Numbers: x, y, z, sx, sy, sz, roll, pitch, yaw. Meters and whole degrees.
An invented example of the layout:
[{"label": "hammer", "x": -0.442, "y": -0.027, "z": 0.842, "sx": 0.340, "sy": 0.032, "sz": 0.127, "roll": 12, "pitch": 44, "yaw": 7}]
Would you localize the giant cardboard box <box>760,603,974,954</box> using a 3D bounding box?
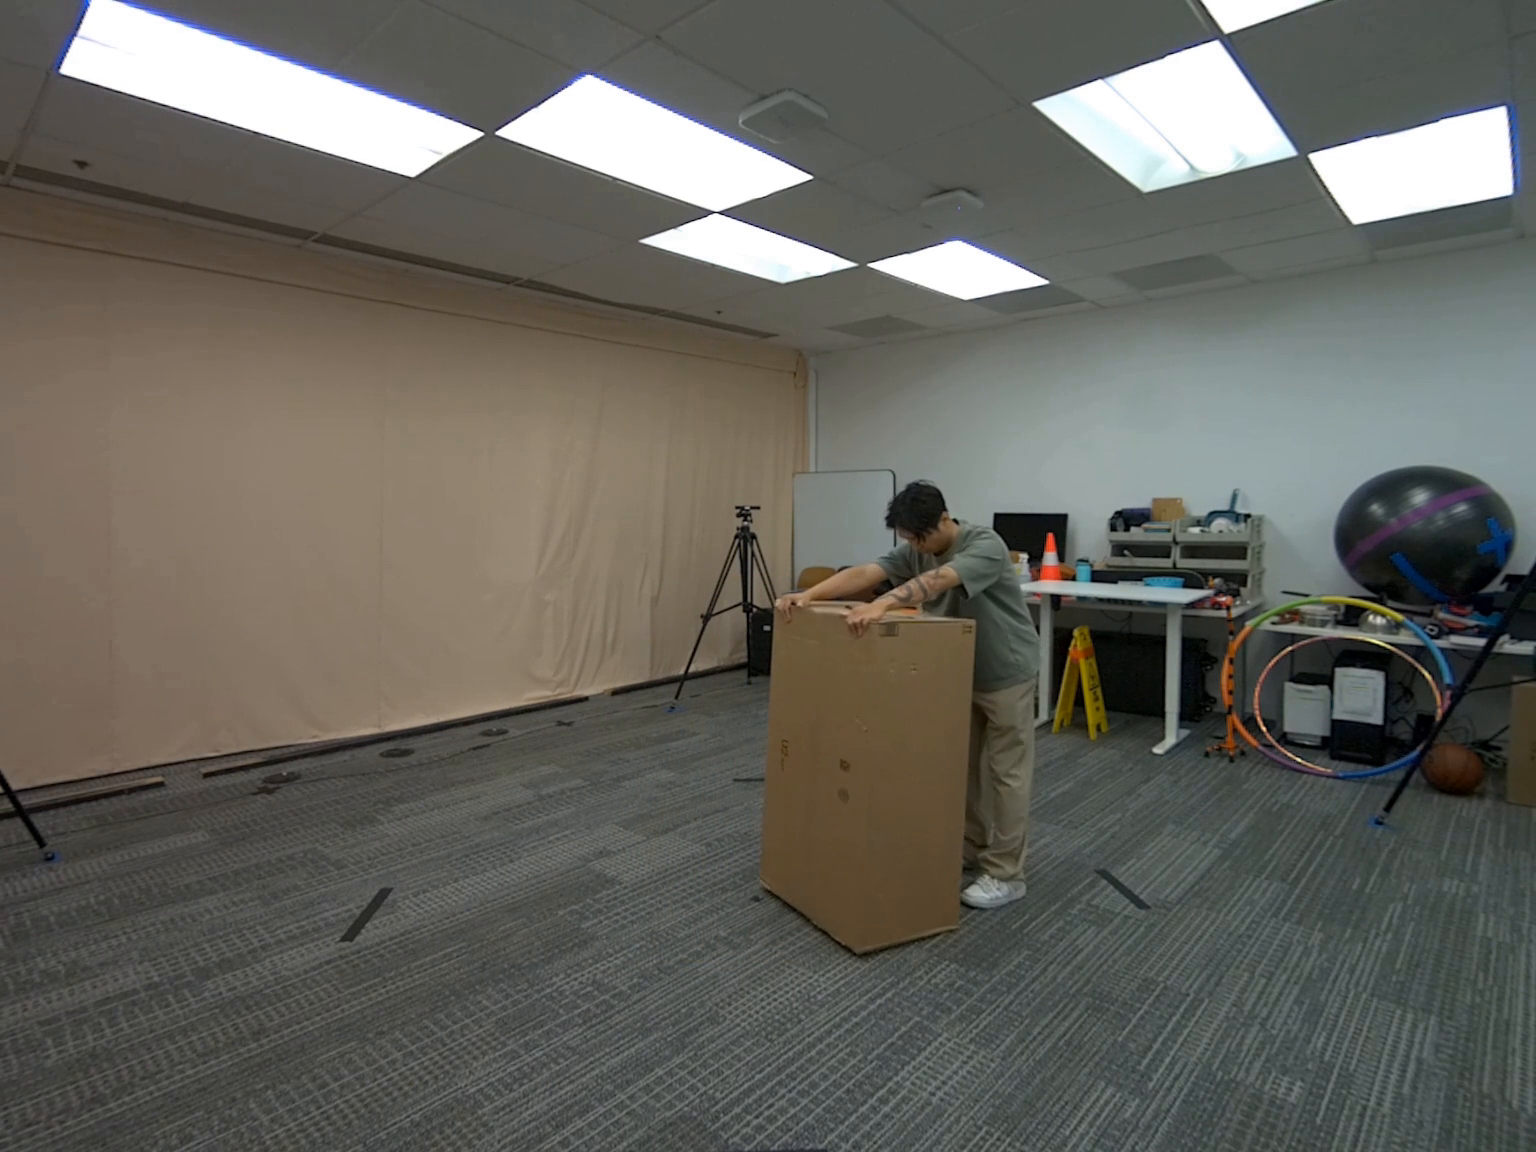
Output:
[{"label": "giant cardboard box", "x": 0.327, "y": 0.629, "z": 2.912, "sx": 0.414, "sy": 1.025, "sz": 0.595, "roll": 2, "pitch": 2, "yaw": -32}]
